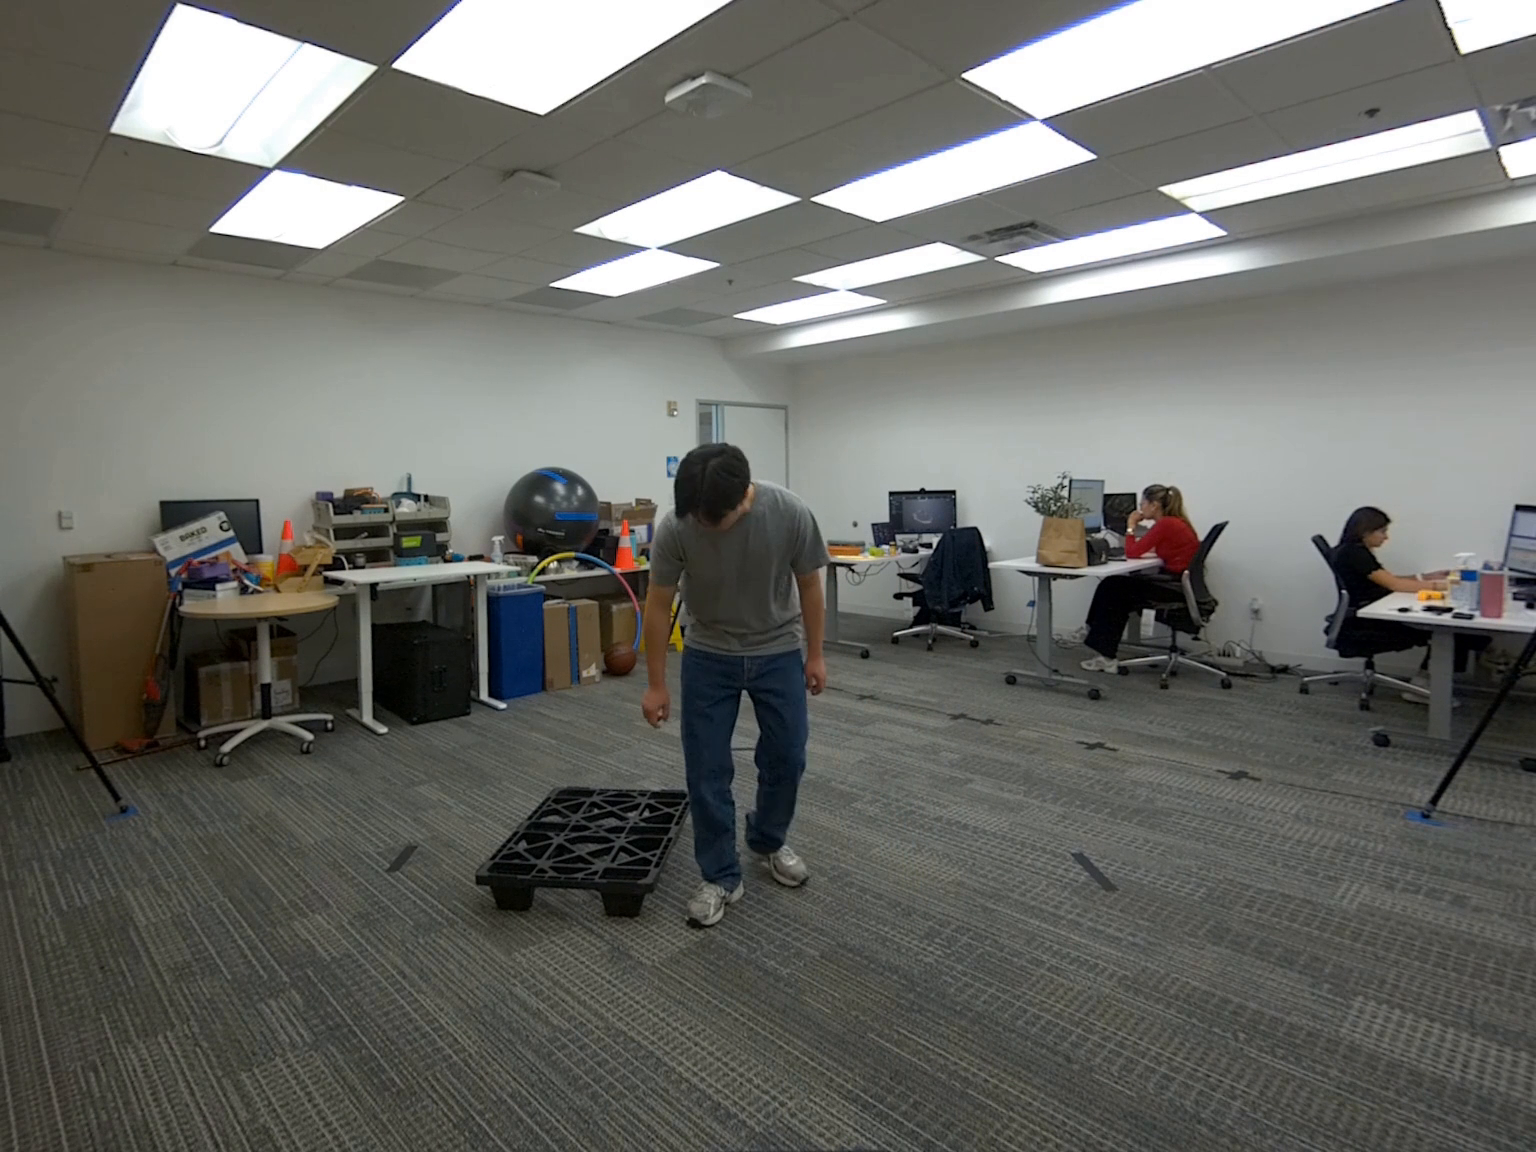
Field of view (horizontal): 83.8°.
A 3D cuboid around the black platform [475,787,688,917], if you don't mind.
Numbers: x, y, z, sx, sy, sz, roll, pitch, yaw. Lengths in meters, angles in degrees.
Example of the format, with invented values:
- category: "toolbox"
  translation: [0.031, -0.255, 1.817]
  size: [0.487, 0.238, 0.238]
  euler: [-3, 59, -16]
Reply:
- category: "black platform"
  translation: [-0.615, 0.982, 3.128]
  size: [0.610, 0.142, 0.803]
  euler: [0, 7, 7]
